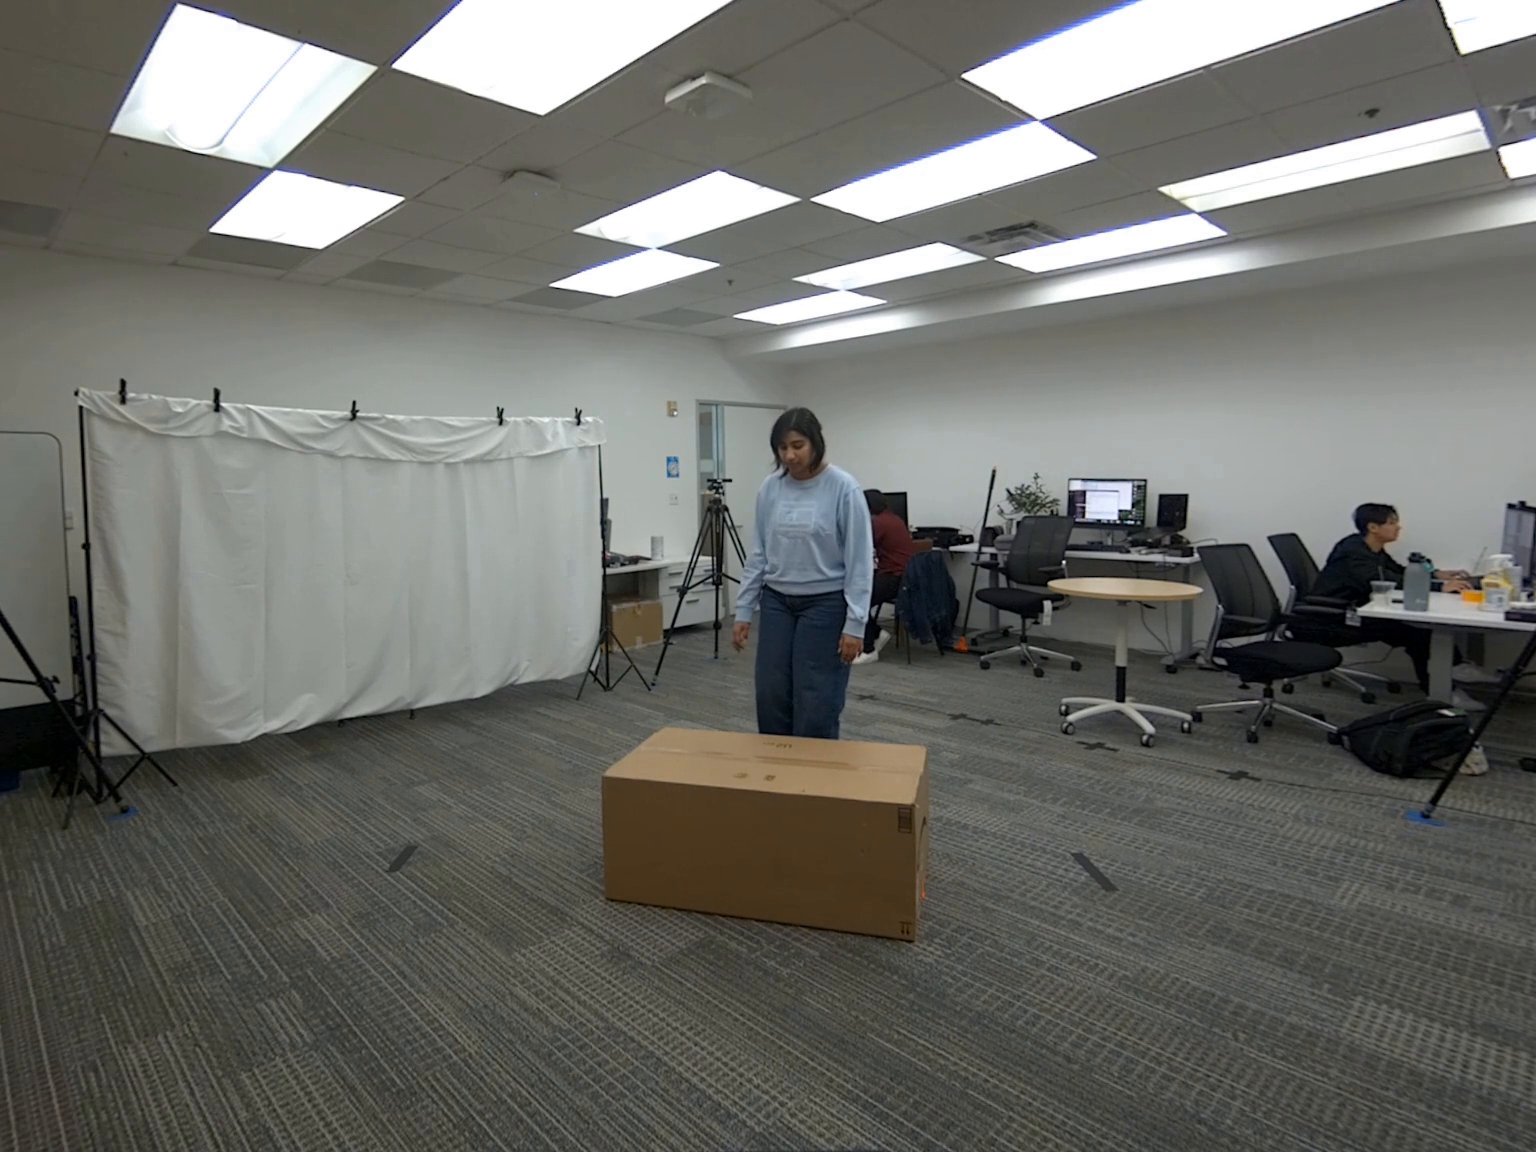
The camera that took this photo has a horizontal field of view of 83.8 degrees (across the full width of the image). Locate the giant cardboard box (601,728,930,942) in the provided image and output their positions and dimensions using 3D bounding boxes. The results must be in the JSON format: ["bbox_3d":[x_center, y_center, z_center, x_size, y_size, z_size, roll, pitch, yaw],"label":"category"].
[{"bbox_3d":[0.012,0.843,2.967,1.043,0.424,0.571,1,6,16],"label":"giant cardboard box"}]
